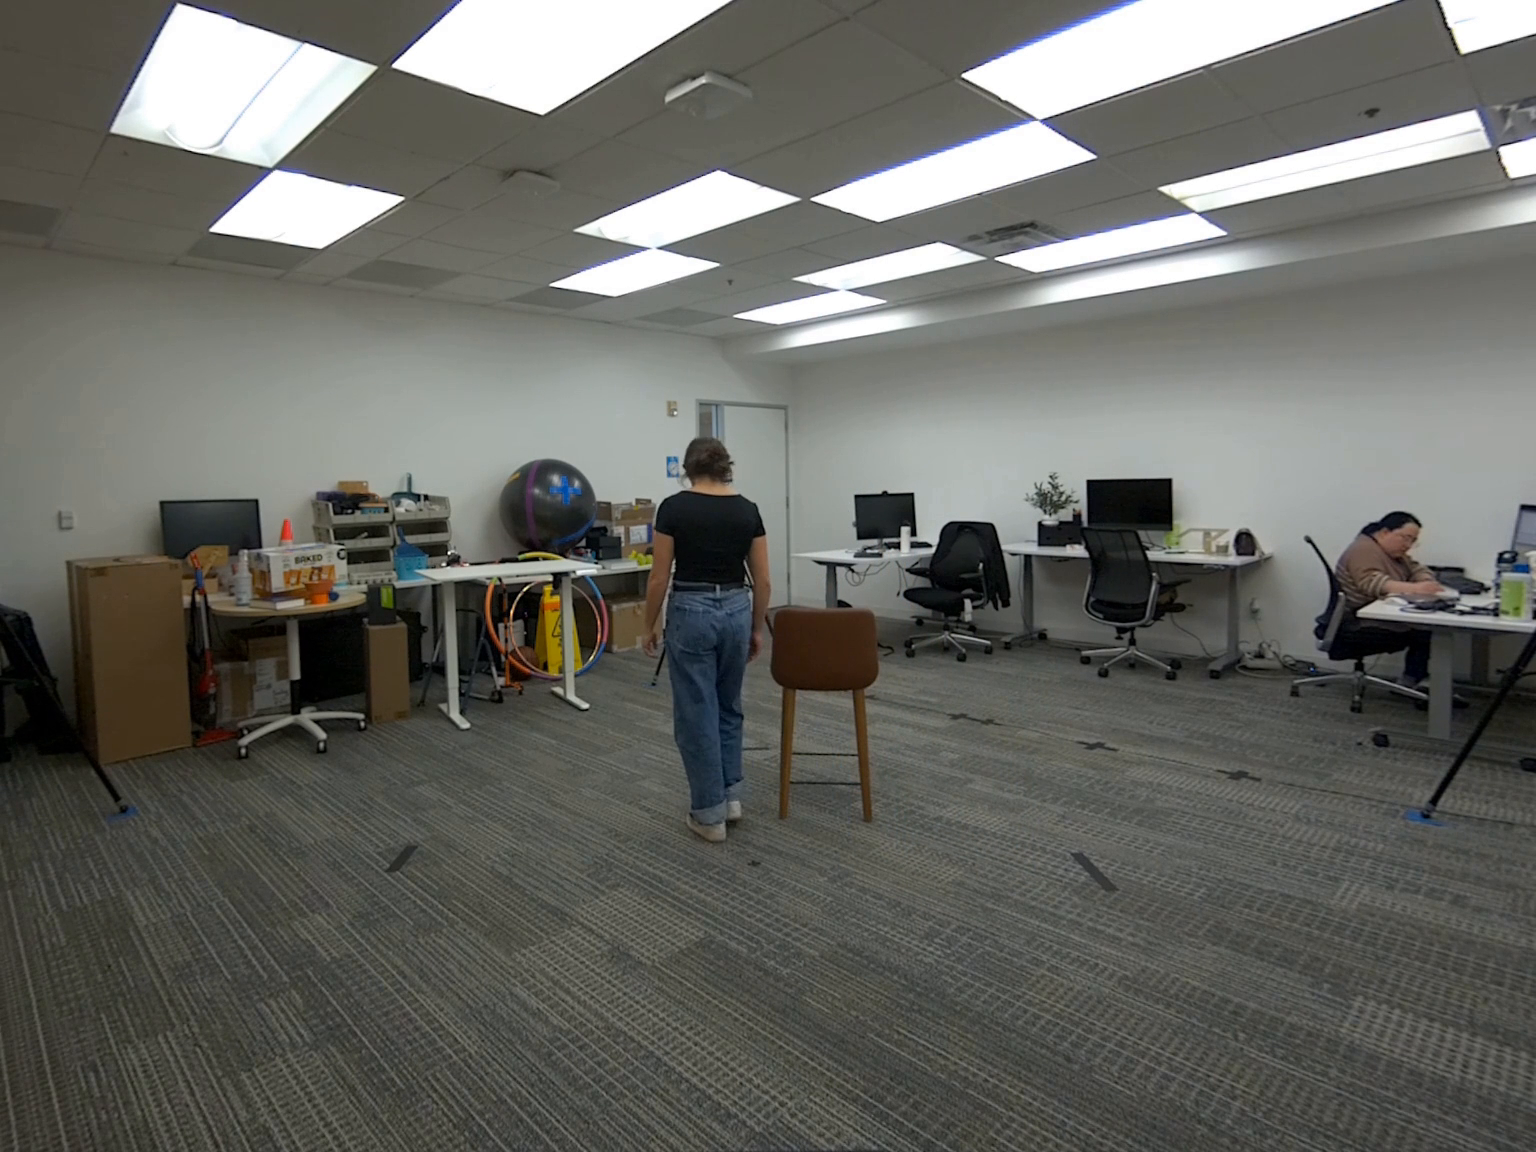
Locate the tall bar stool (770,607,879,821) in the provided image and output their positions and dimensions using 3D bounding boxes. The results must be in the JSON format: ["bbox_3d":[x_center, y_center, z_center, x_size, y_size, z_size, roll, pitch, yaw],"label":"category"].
[{"bbox_3d":[0.246,0.540,3.683,0.459,0.885,0.467,0,6,6],"label":"tall bar stool"}]
